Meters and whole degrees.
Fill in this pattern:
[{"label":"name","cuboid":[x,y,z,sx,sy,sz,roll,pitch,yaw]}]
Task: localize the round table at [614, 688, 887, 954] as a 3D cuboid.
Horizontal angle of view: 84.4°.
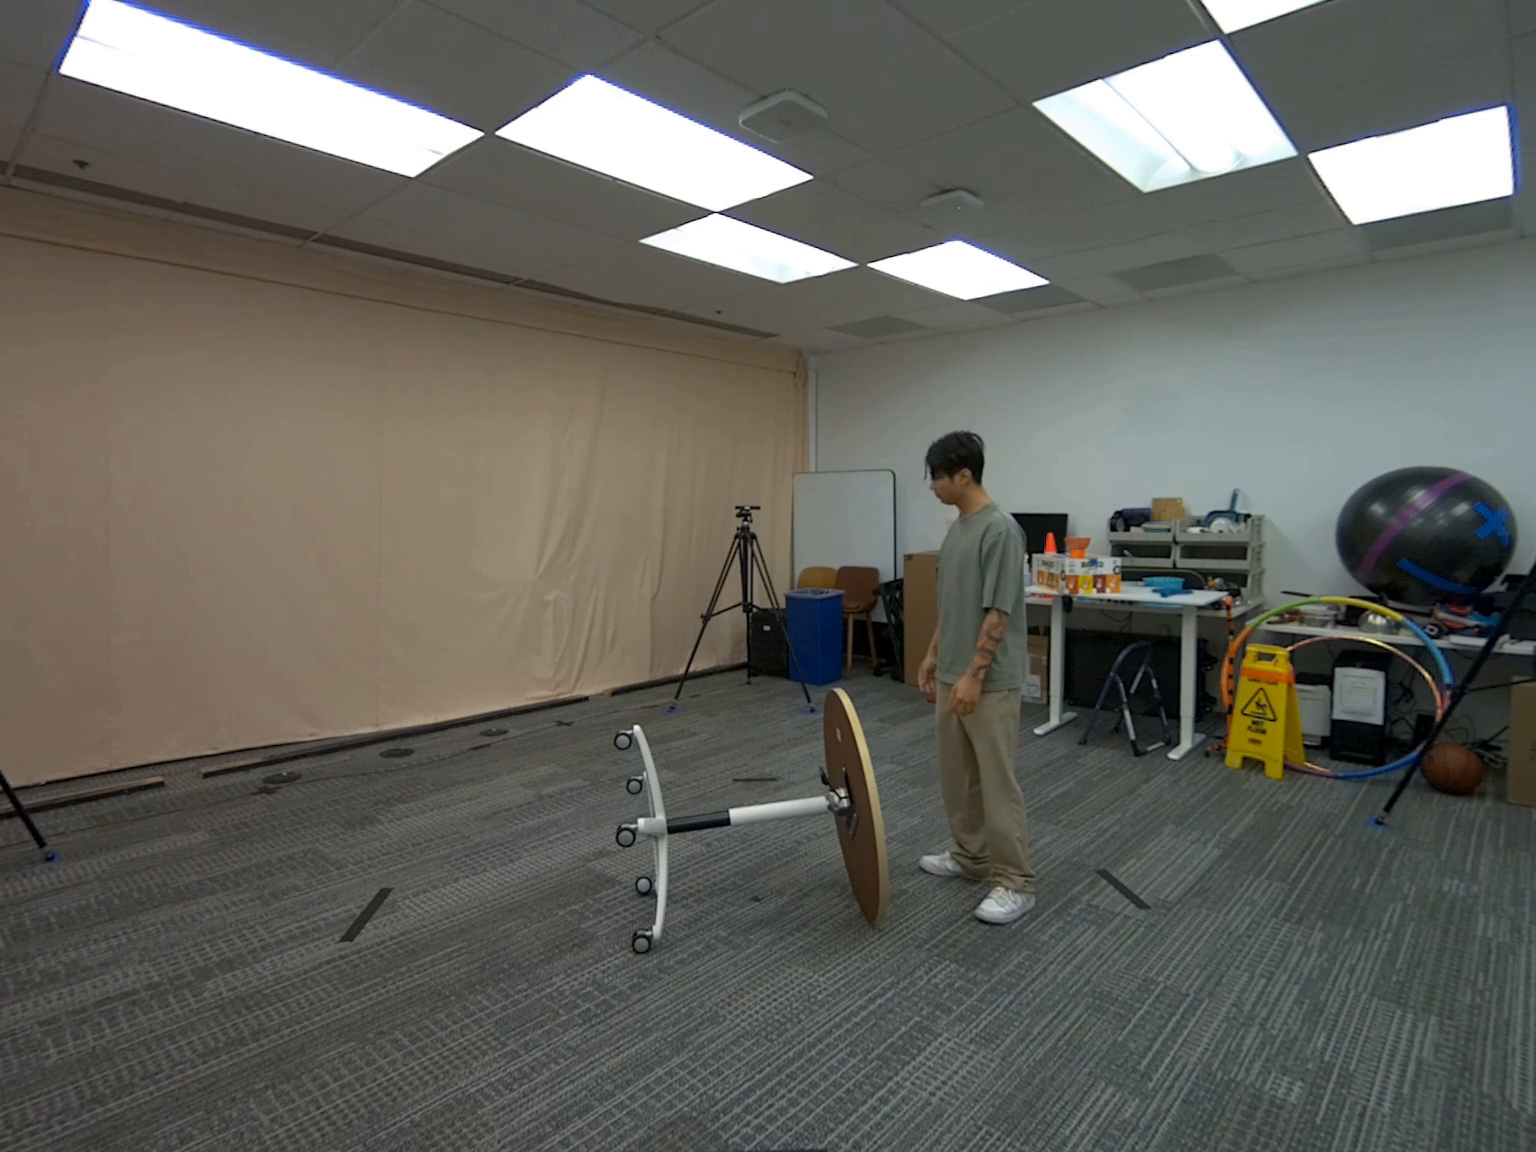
[{"label":"round table","cuboid":[-0.088,0.814,2.854,0.782,0.783,0.792,-6,5,-7]}]
